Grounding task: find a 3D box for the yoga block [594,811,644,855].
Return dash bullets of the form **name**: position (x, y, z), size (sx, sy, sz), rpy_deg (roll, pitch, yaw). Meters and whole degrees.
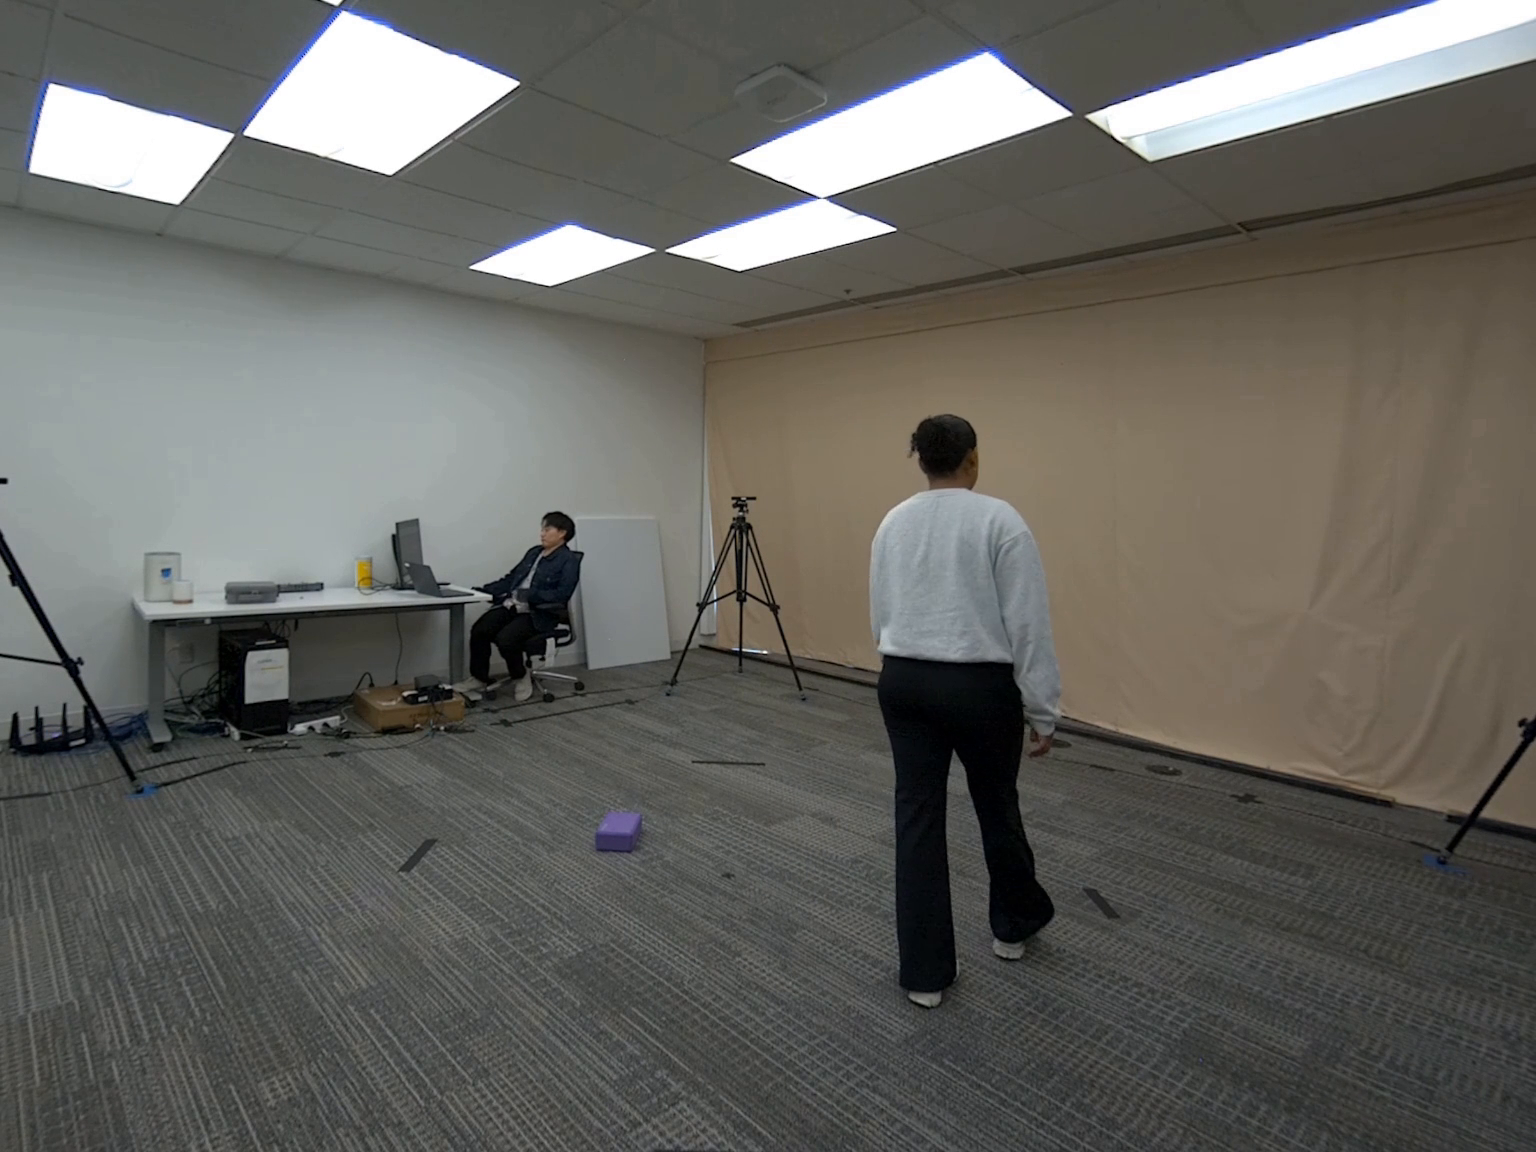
- **yoga block**: position (-0.610, 1.029, 3.397), size (0.149, 0.076, 0.229), rpy_deg (4, 5, 3)
